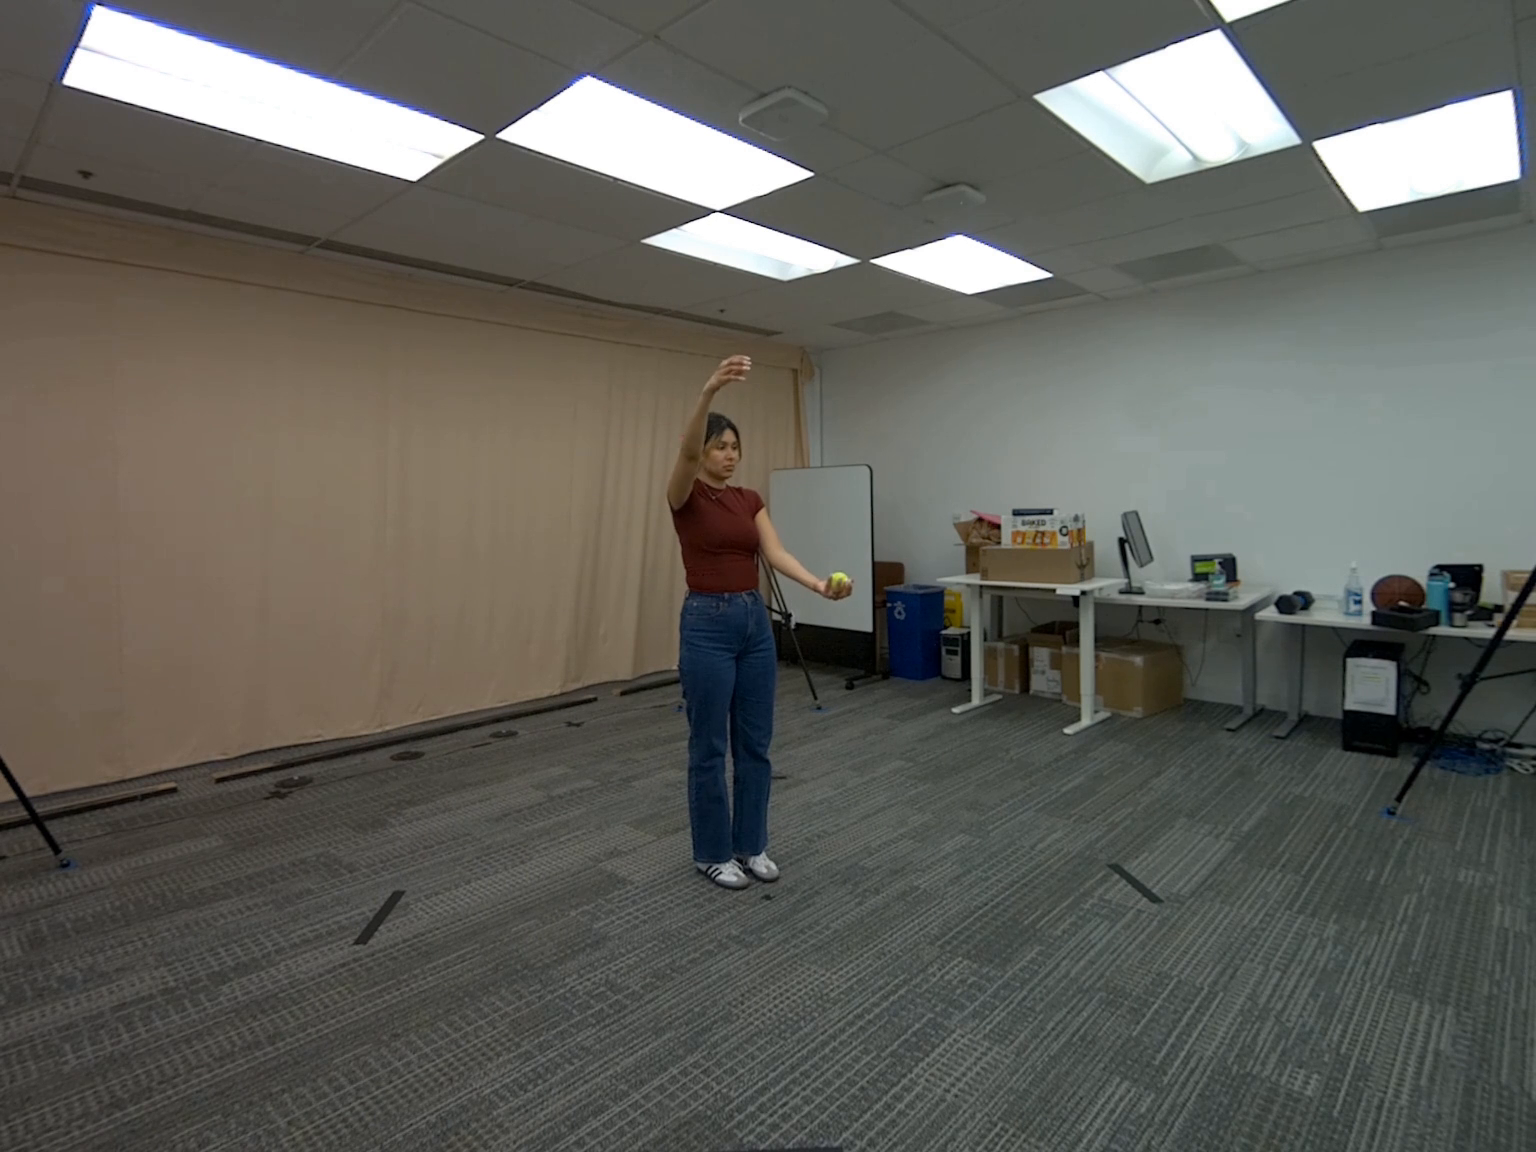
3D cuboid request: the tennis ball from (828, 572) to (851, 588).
[{"bbox_3d":[0.214,-0.001,2.773,0.066,0.066,0.067,-1,4,-2],"label":"tennis ball"}]
